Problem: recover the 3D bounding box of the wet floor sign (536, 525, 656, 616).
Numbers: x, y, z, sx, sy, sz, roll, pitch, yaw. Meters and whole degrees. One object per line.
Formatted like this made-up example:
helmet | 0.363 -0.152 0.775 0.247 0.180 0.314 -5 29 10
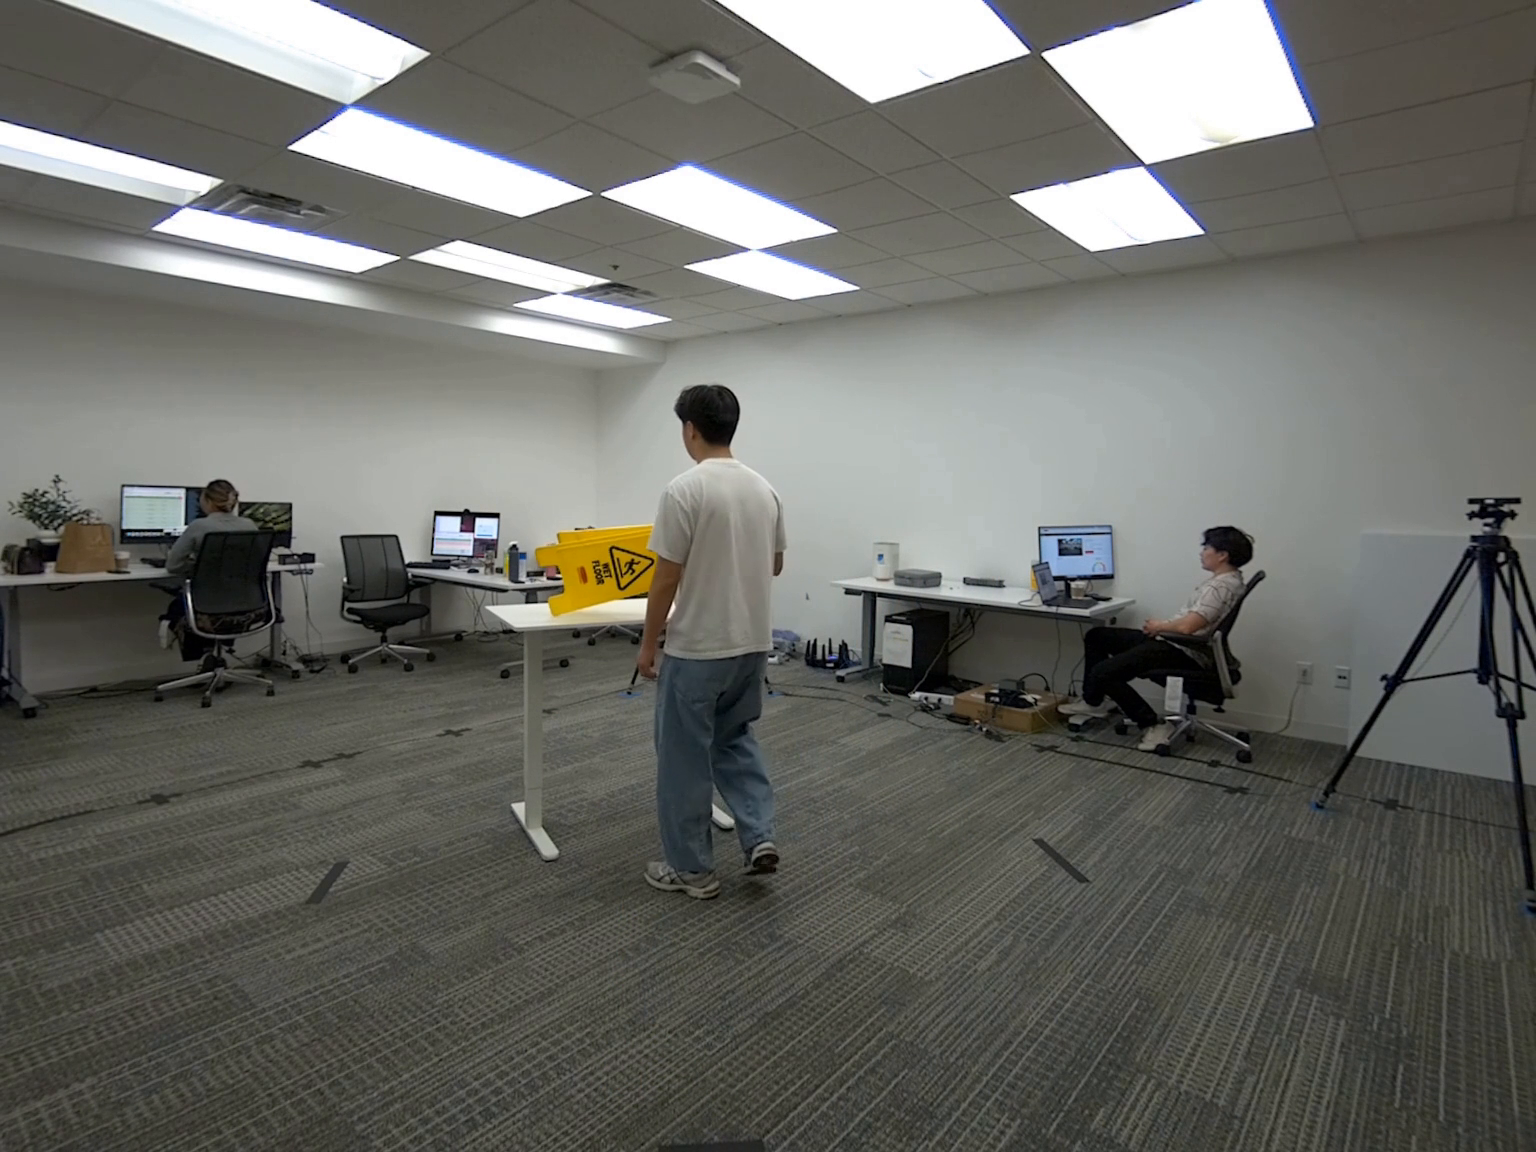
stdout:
wet floor sign | -0.553 -0.065 3.326 0.653 0.279 0.290 -9 11 12
